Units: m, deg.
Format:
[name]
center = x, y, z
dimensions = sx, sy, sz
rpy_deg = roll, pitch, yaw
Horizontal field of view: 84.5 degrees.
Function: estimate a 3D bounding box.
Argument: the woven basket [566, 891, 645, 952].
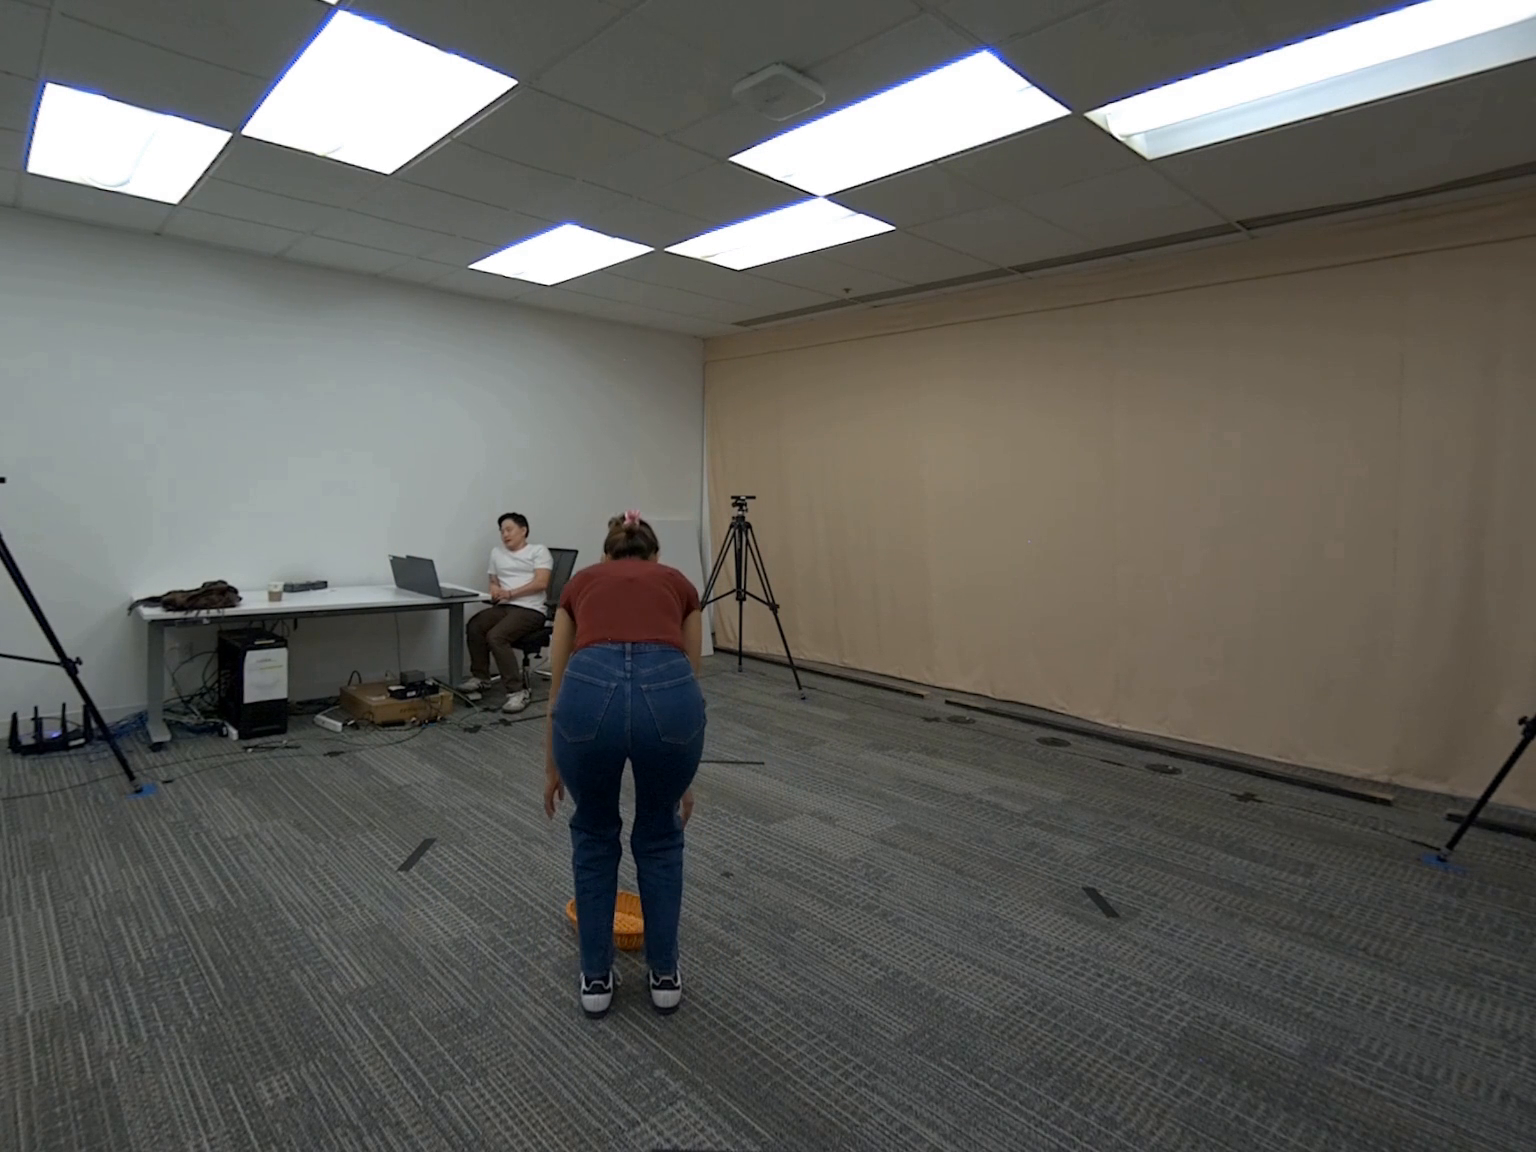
[woven basket]
center = -0.486, 1.098, 2.682
dimensions = 0.358, 0.073, 0.247
rpy_deg = 4, 5, 29
